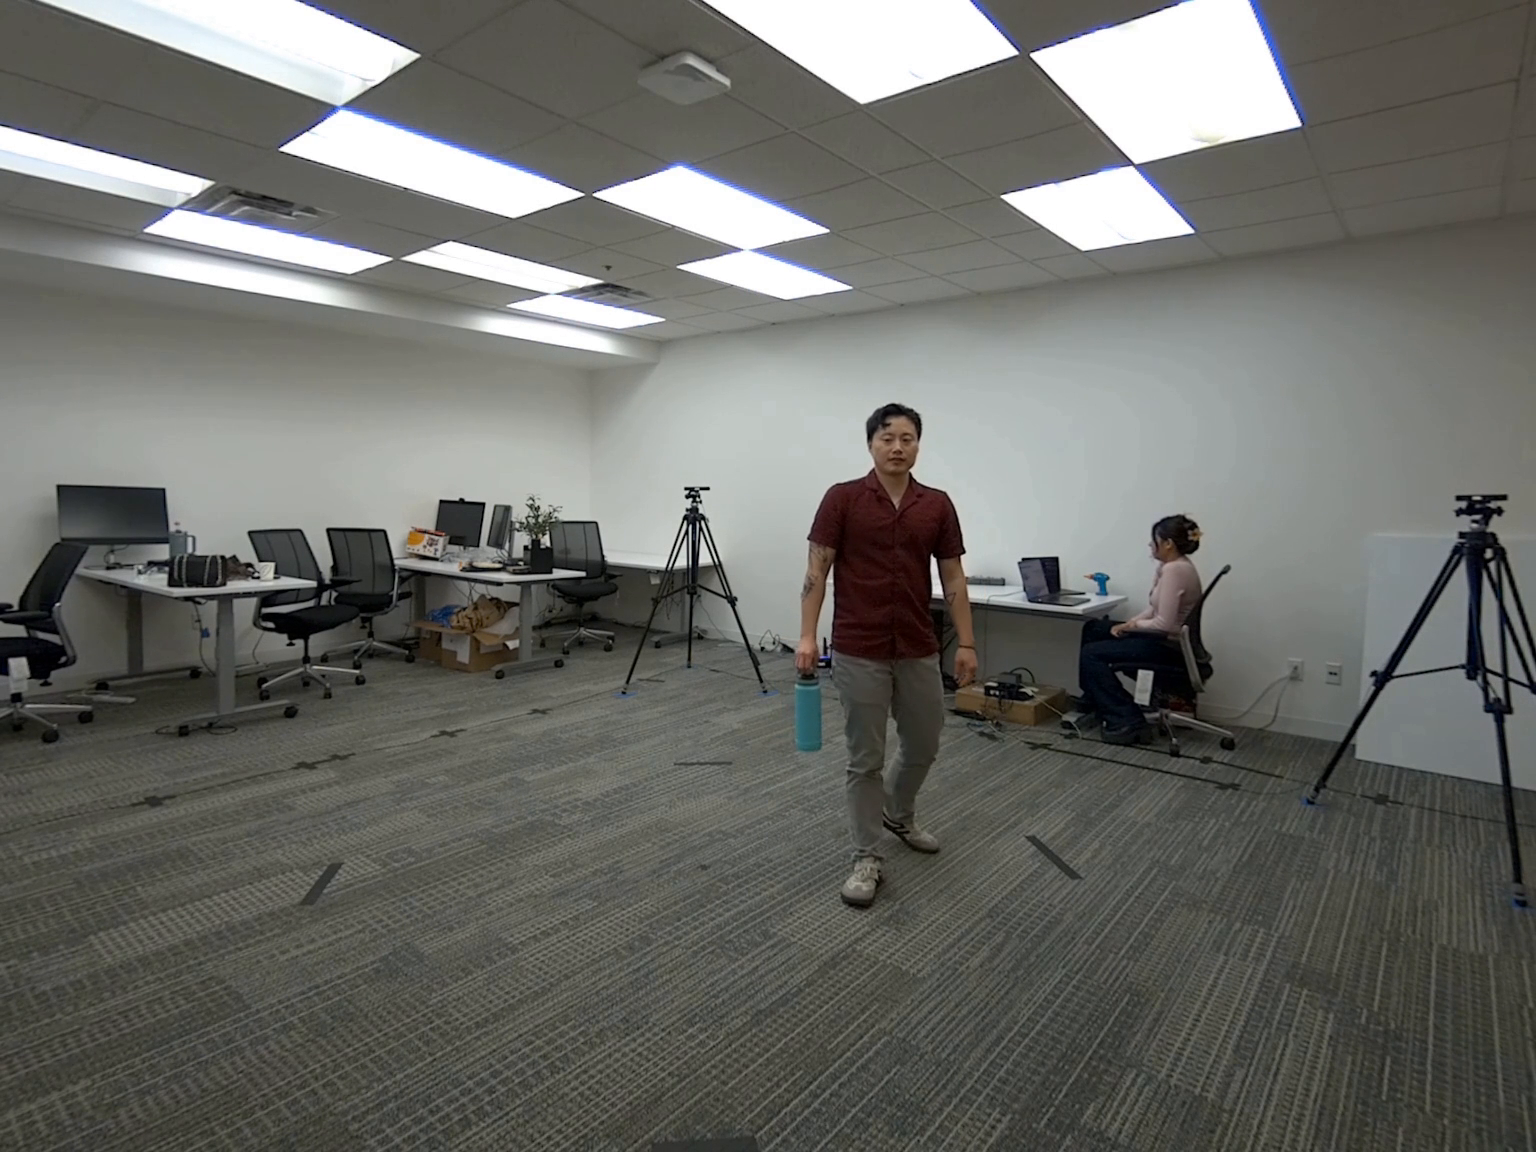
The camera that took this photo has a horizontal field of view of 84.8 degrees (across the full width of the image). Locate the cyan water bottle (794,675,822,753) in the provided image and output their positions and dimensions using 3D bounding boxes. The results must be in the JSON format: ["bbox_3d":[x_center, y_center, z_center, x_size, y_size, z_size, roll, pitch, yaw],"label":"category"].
[{"bbox_3d":[0.133,0.454,2.928,0.092,0.282,0.093,-3,3,-2],"label":"cyan water bottle"}]
